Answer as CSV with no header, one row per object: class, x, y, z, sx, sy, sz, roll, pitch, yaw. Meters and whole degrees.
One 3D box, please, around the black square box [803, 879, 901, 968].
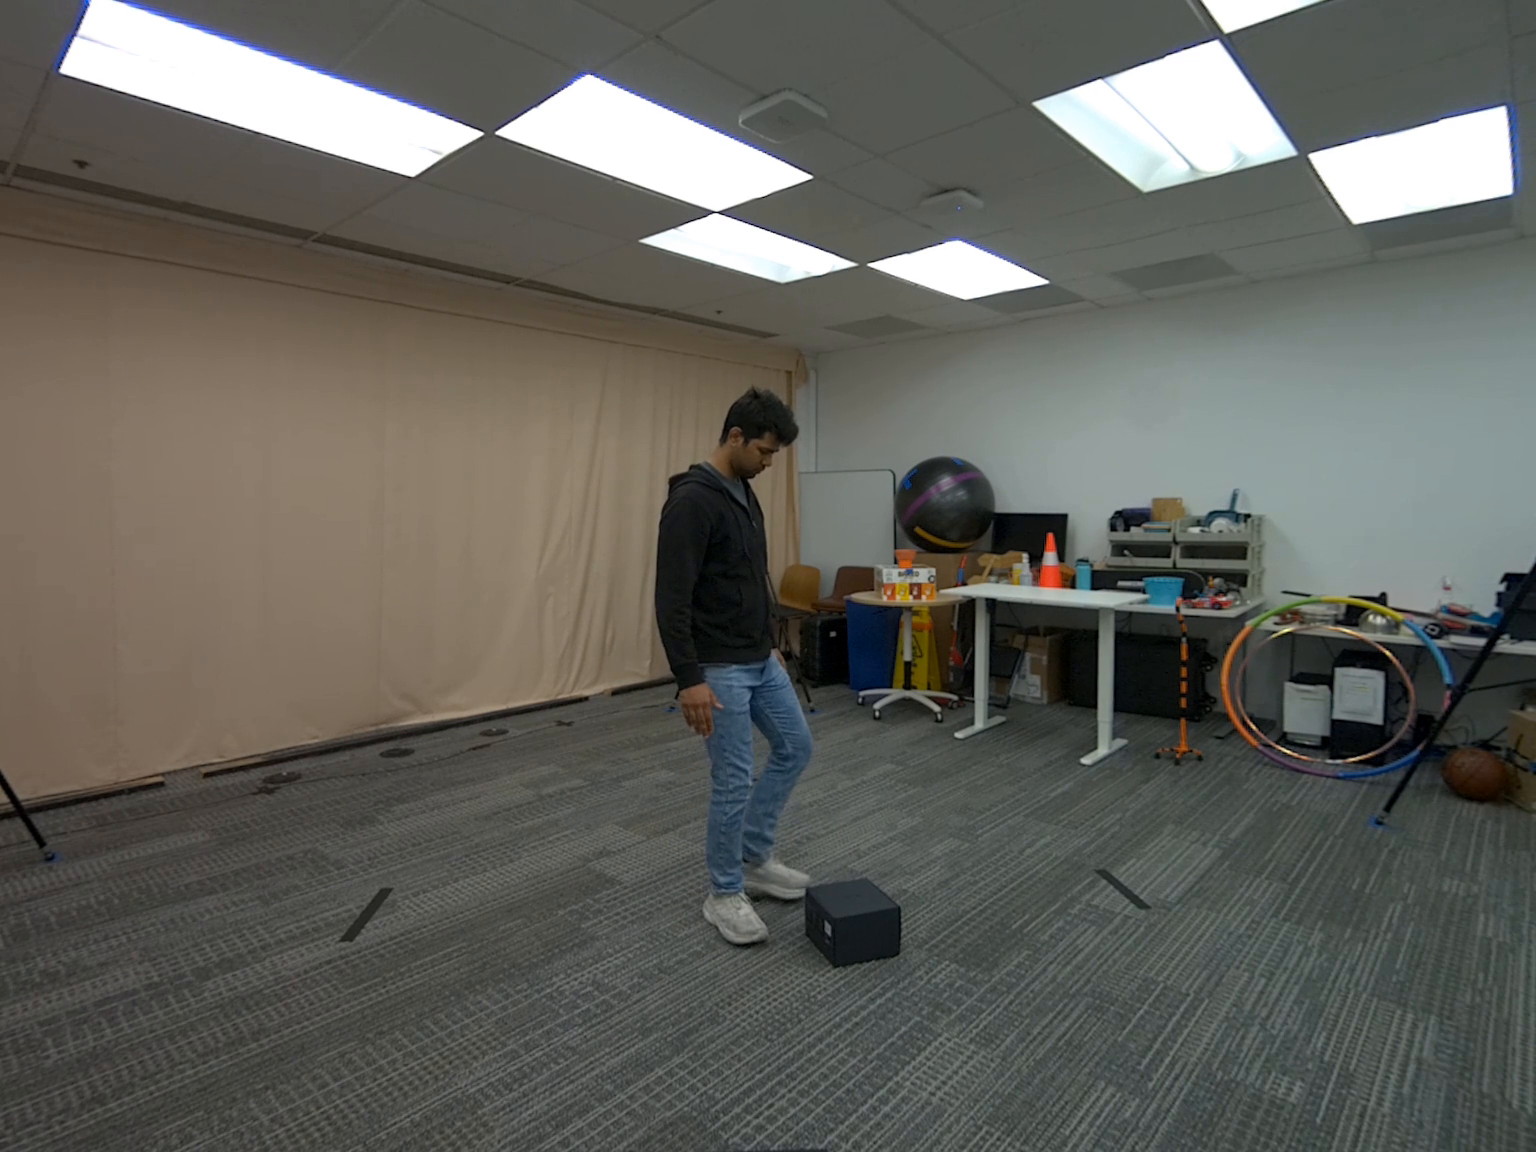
black square box,0.268,1.087,2.660,0.223,0.155,0.222,-2,4,-21
